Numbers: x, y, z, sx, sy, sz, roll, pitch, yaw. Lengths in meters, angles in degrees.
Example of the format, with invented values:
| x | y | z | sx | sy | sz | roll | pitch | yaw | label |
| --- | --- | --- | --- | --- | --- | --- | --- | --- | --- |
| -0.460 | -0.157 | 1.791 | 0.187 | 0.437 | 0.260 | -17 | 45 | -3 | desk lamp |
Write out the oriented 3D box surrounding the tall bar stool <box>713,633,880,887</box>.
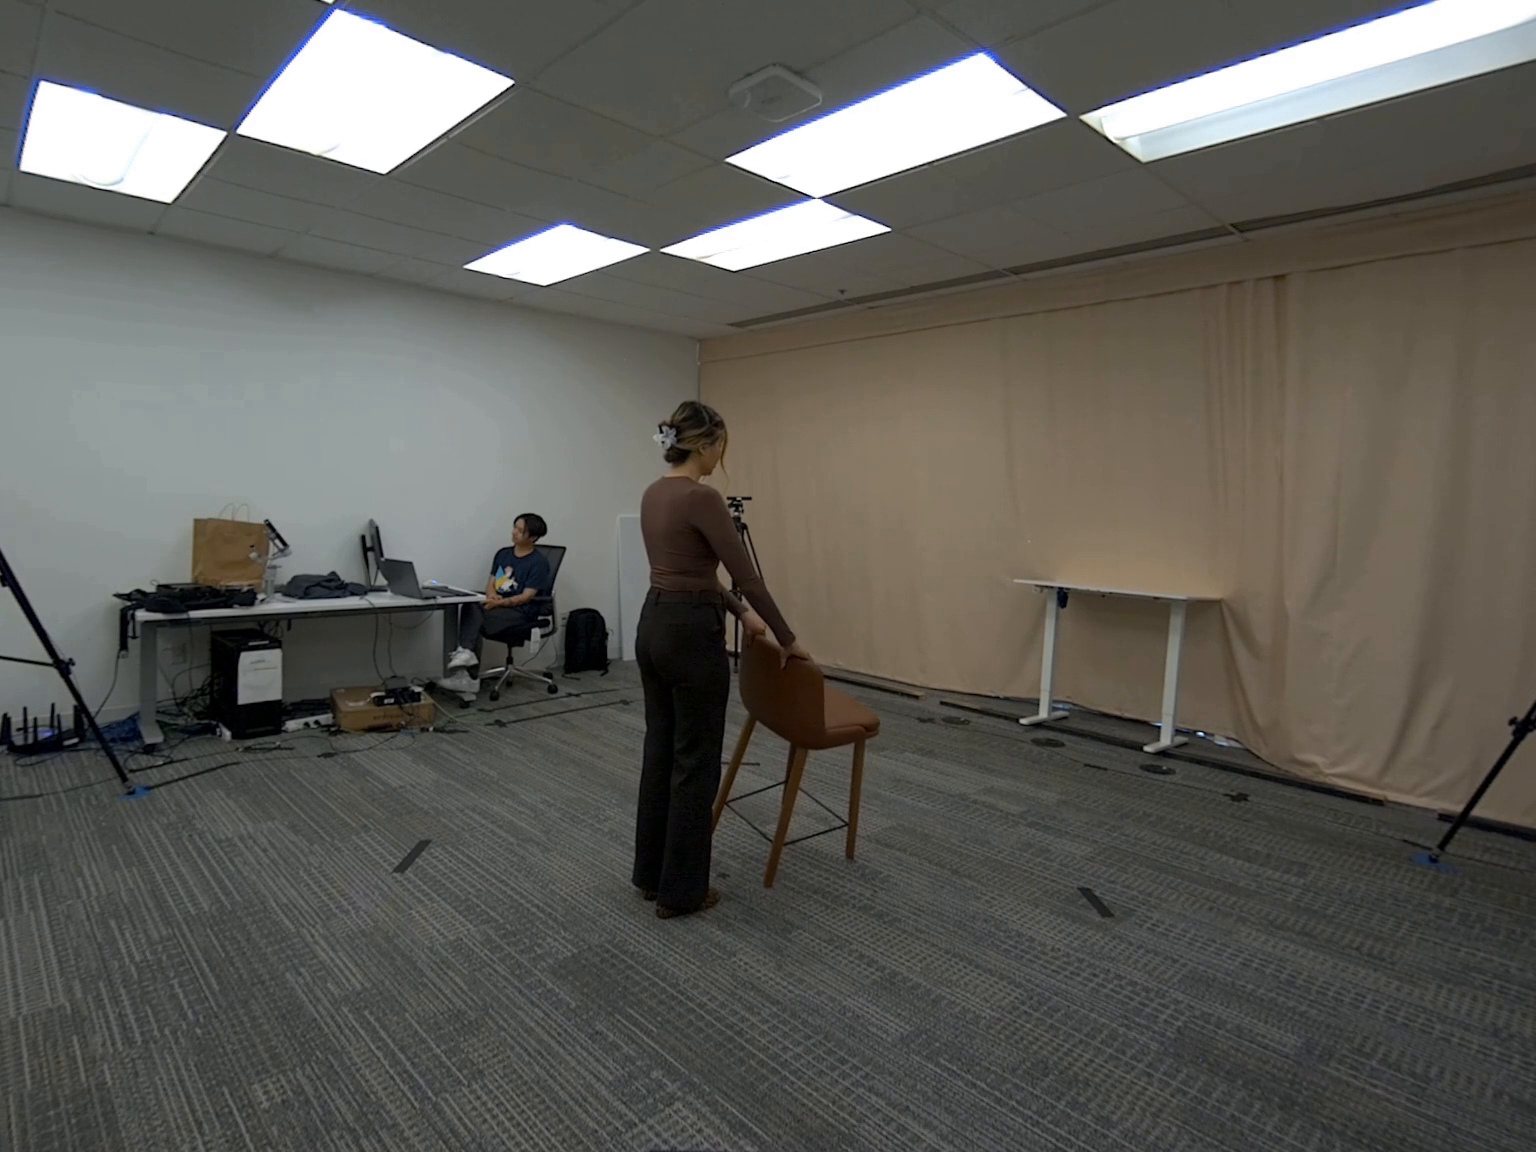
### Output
| x | y | z | sx | sy | sz | roll | pitch | yaw | label |
| --- | --- | --- | --- | --- | --- | --- | --- | --- | --- |
| 0.105 | 0.636 | 3.179 | 0.457 | 0.881 | 0.471 | -5 | 20 | -41 | tall bar stool |
